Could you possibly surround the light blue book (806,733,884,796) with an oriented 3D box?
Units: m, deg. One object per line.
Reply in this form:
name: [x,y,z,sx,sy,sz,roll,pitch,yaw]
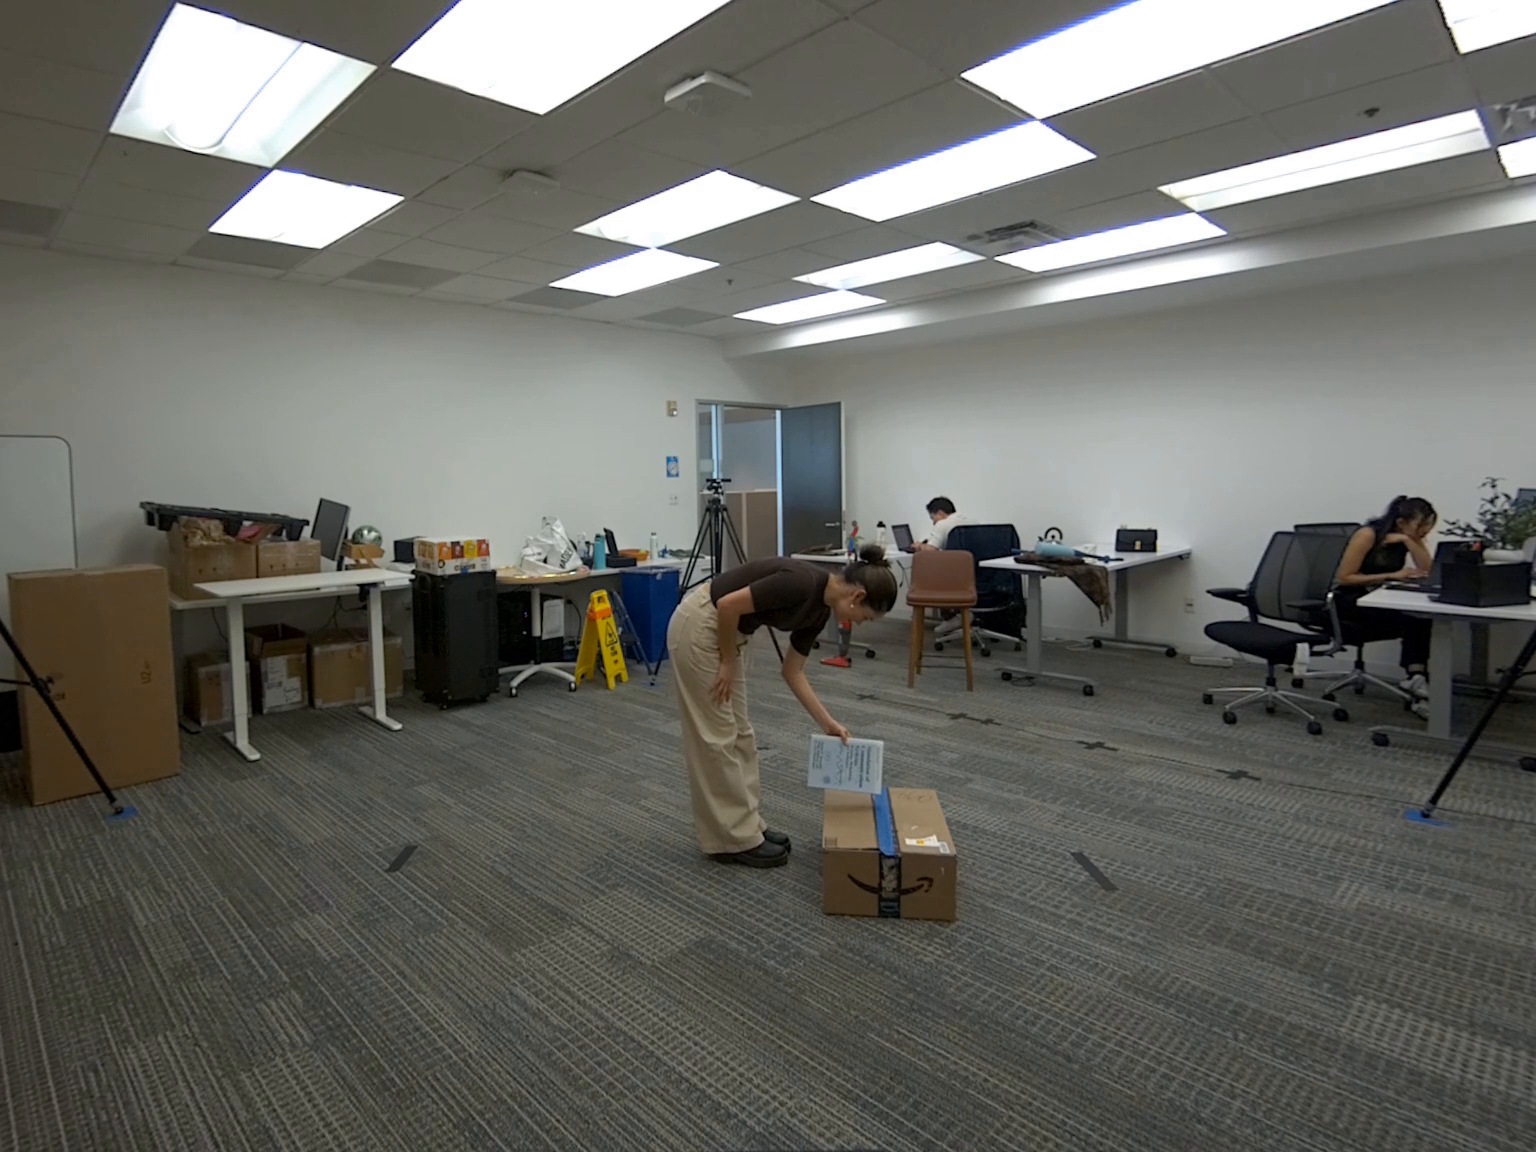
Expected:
light blue book: [0.274,0.684,3.102,0.264,0.194,0.057,3,-17,10]
